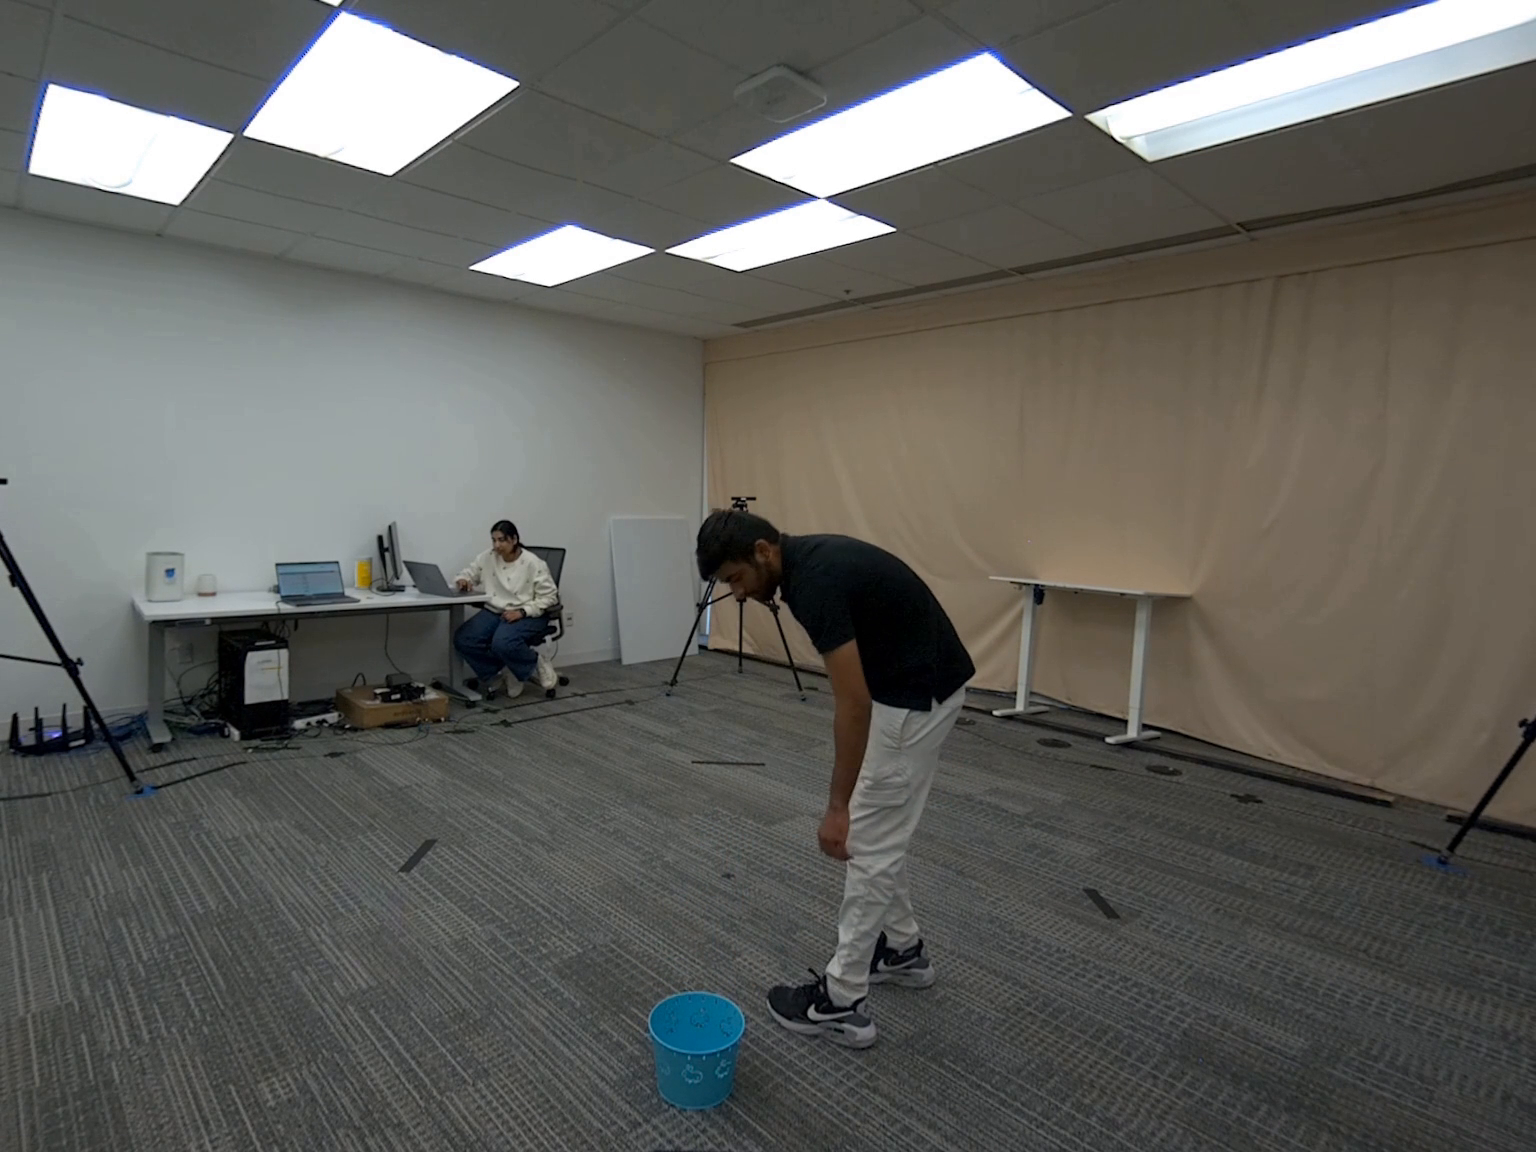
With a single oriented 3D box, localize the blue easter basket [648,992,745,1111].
[{"bbox_3d":[-0.173,1.137,1.998,0.243,0.155,0.244,2,5,-2],"label":"blue easter basket"}]
